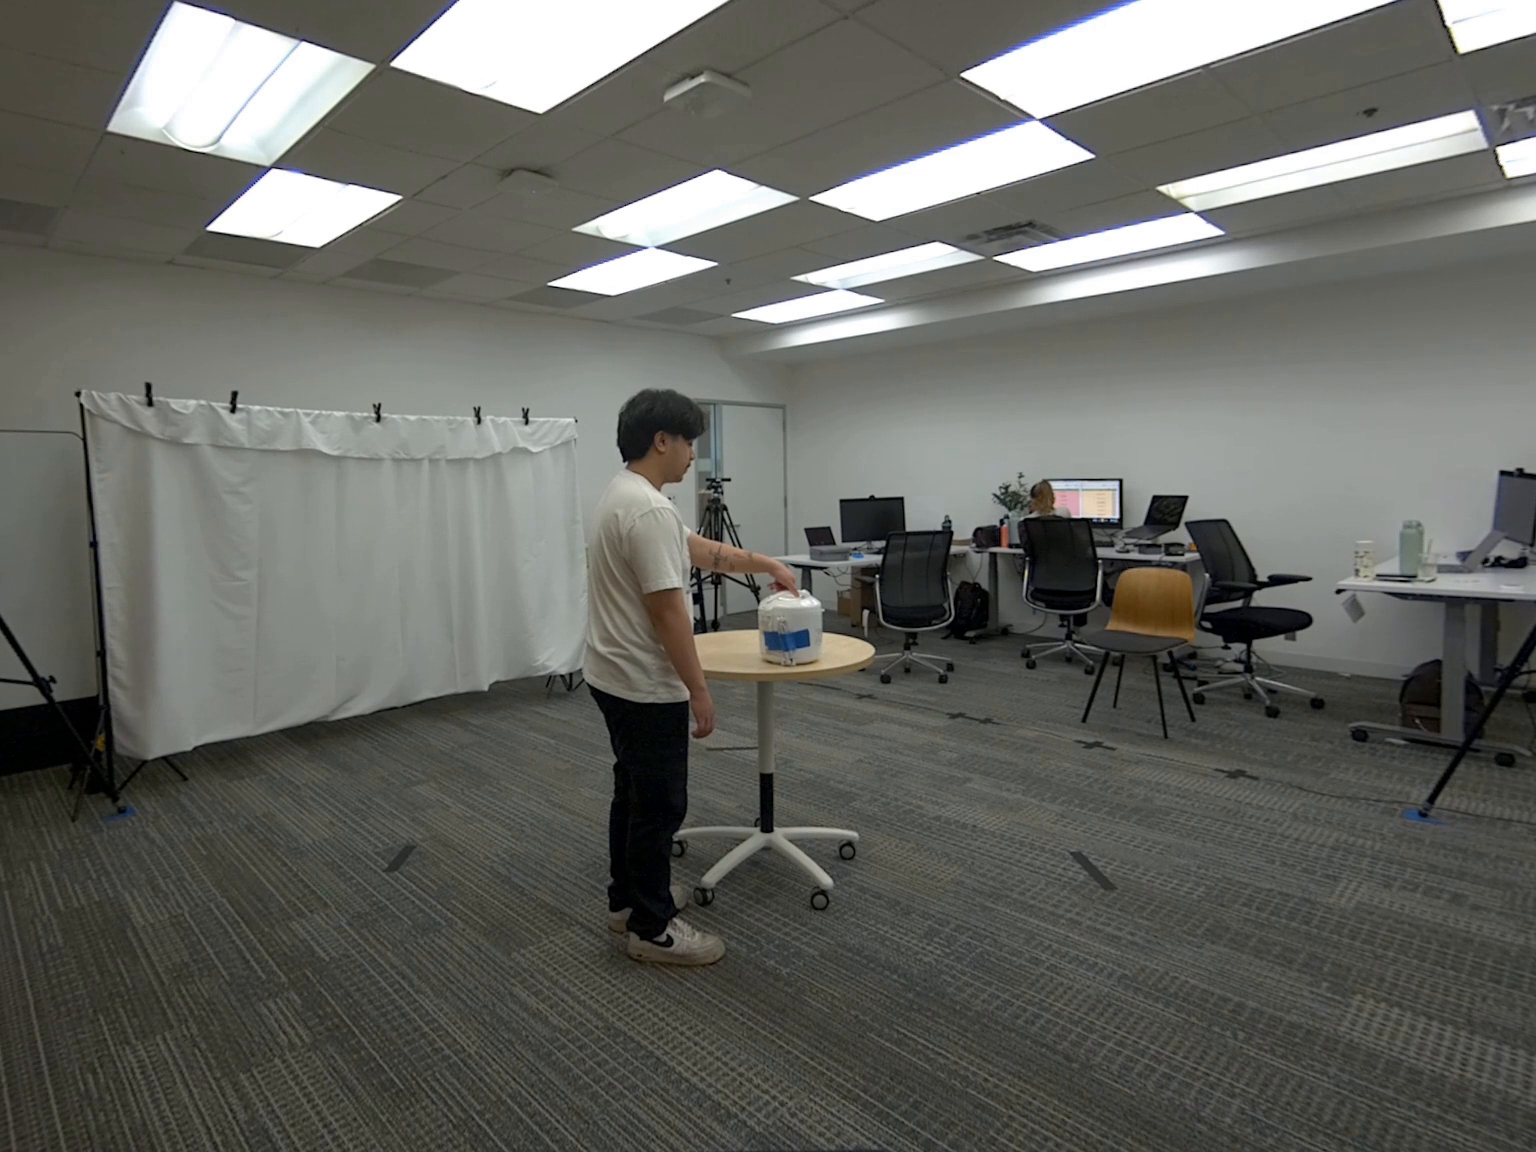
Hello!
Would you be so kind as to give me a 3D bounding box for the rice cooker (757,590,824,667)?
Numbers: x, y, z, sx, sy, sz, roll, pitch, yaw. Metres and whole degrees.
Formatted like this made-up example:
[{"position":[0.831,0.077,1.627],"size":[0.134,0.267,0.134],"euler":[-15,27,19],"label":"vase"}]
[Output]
[{"position":[0.074,0.160,2.804],"size":[0.215,0.232,0.224],"euler":[-4,7,-34],"label":"rice cooker"}]
